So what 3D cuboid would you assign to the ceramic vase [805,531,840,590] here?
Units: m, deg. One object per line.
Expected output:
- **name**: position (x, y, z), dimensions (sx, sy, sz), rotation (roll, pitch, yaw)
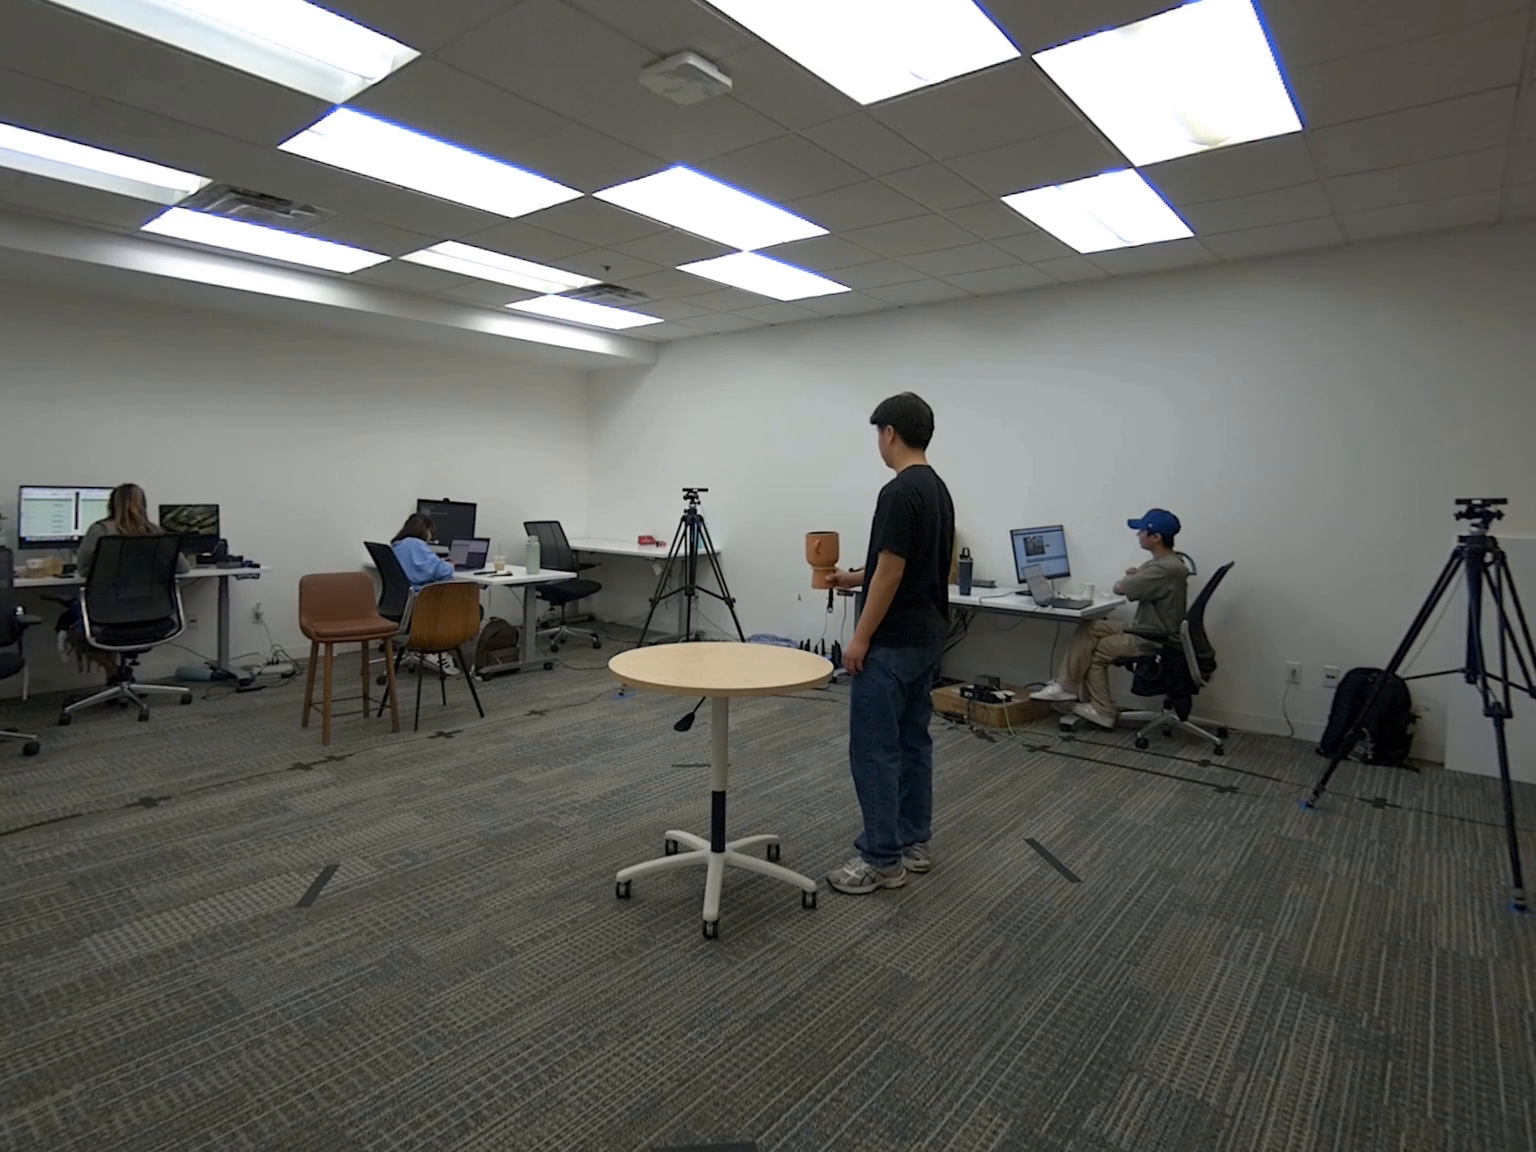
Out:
- **ceramic vase**: position (0.217, -0.066, 3.397), dimensions (0.155, 0.218, 0.139), rotation (-5, 7, -31)
